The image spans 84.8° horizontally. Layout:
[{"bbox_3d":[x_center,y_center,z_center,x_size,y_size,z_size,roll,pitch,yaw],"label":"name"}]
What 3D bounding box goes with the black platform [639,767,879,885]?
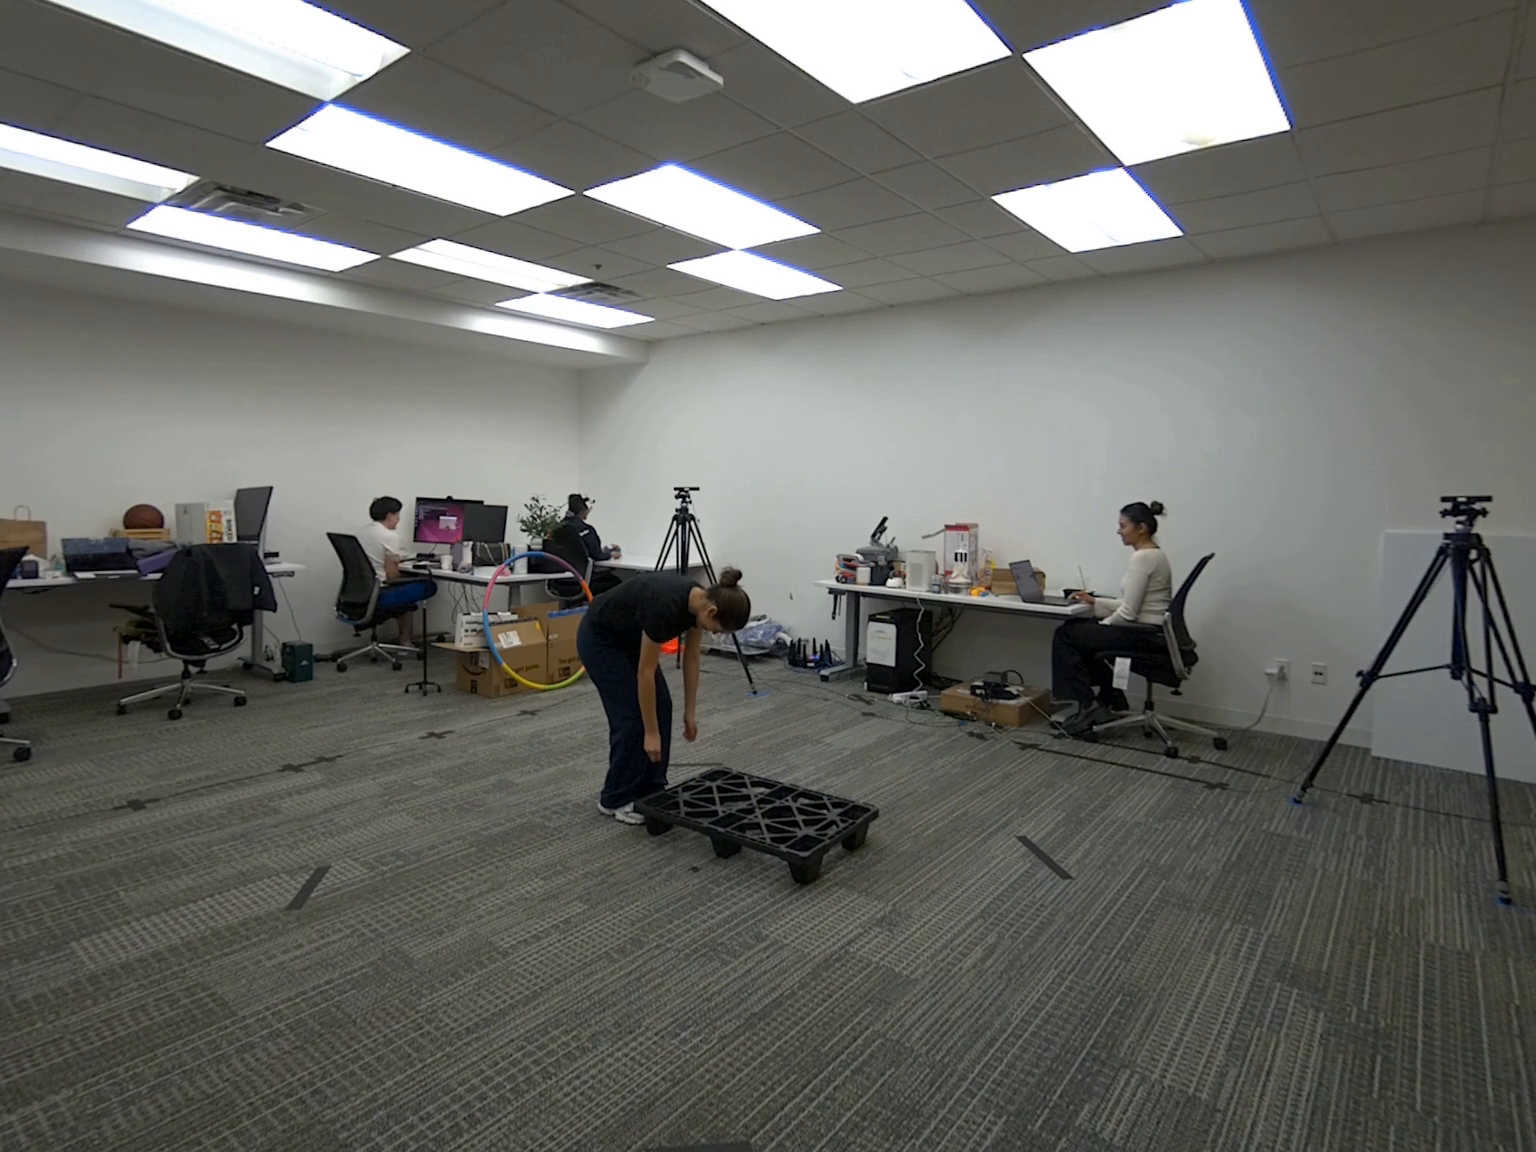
[{"bbox_3d":[-0.032,0.975,3.401,0.832,0.143,0.588,5,6,35],"label":"black platform"}]
